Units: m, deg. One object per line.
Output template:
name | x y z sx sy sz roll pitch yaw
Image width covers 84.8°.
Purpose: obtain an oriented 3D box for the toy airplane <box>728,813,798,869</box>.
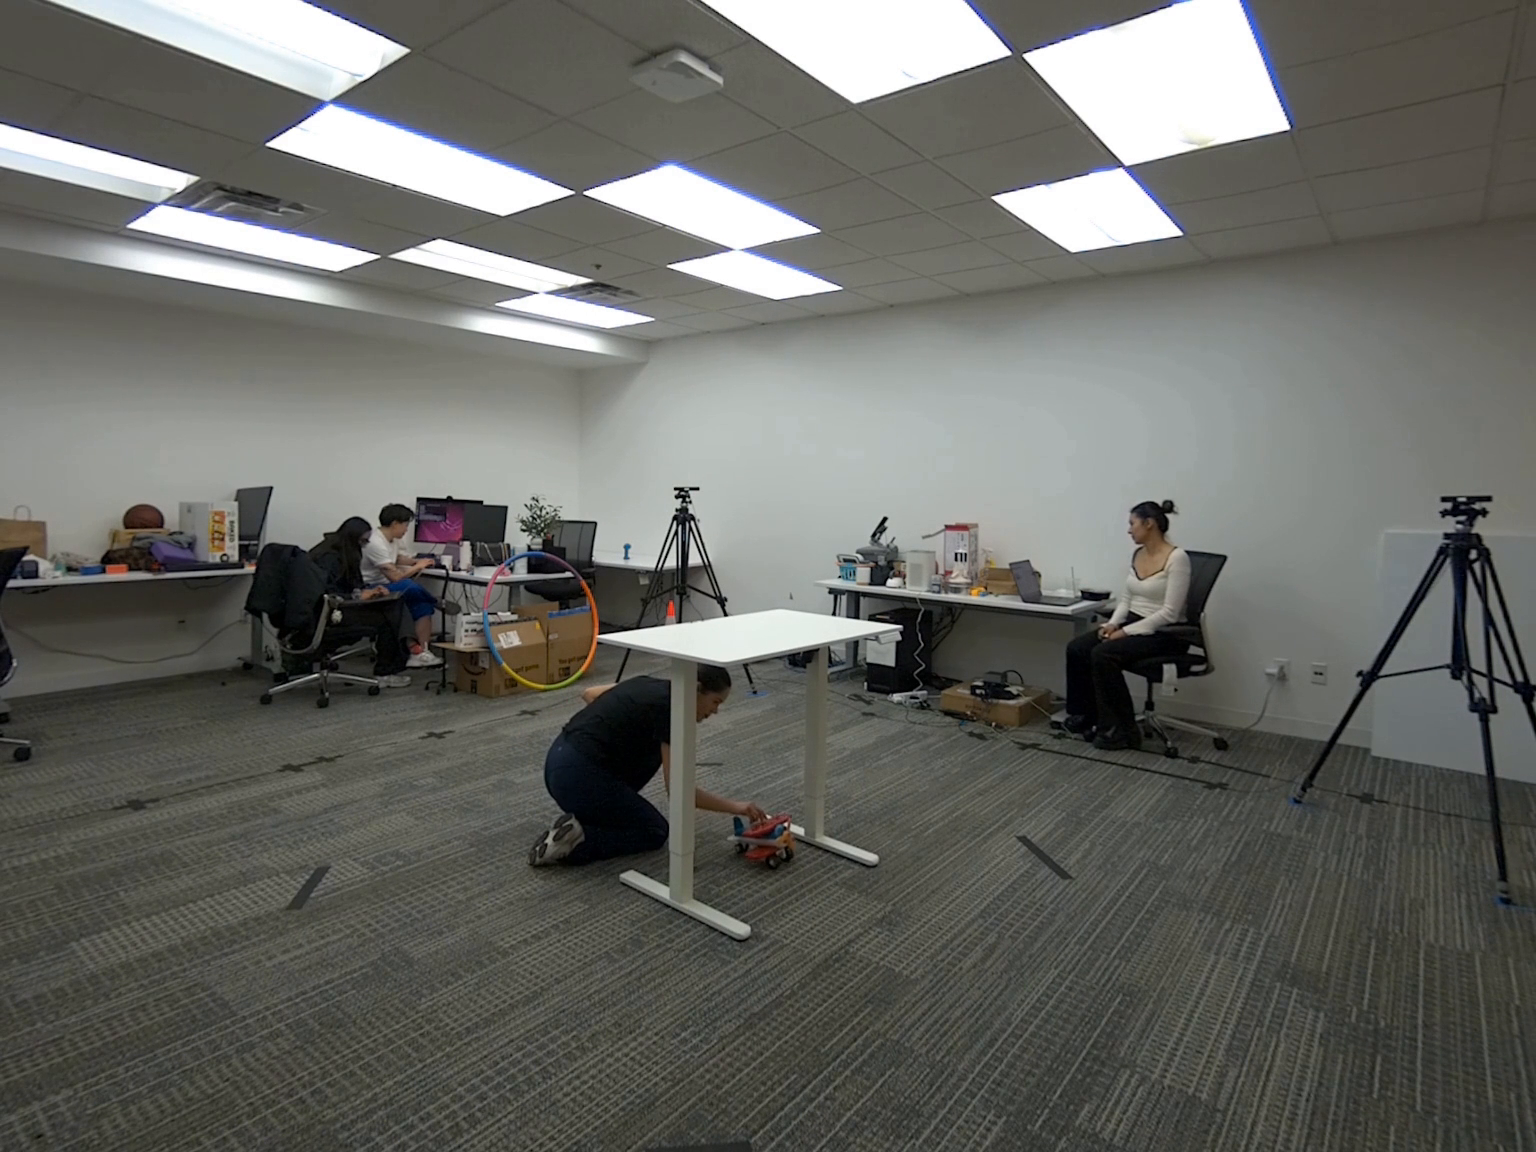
toy airplane | -0.023 0.985 3.196 0.261 0.156 0.250 3 6 7
